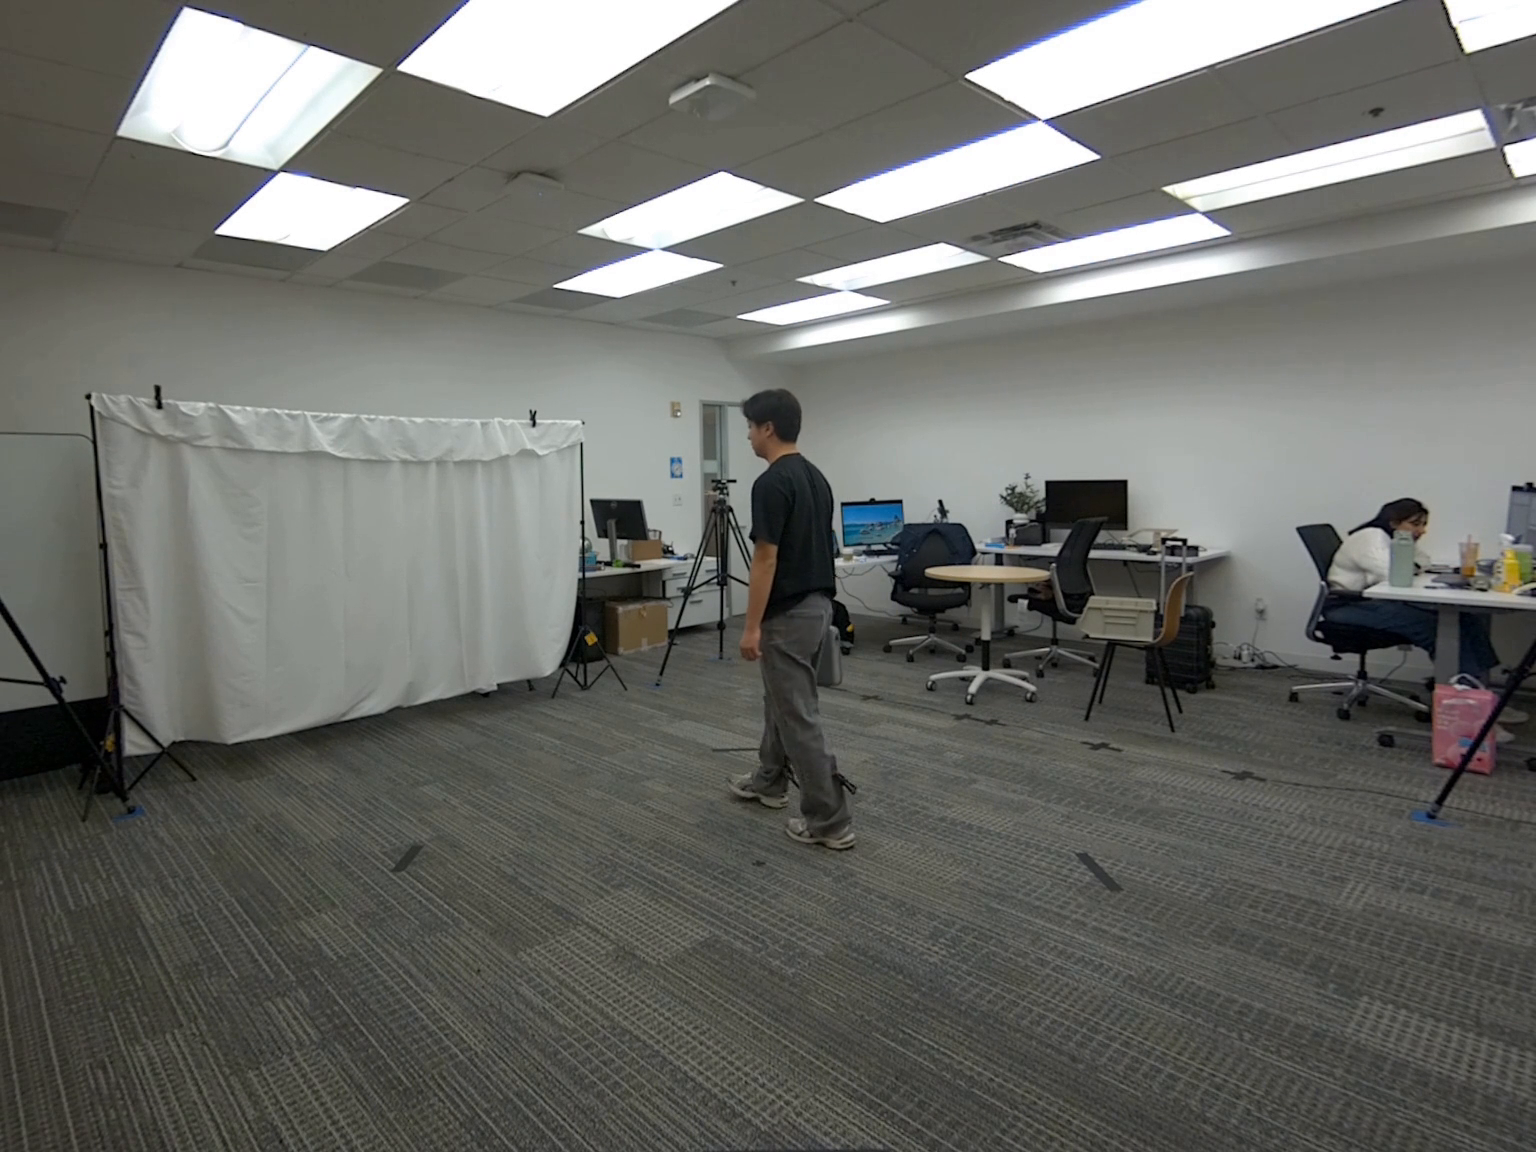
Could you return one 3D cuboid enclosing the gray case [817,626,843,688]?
[{"bbox_3d":[0.183,0.333,3.661,0.269,0.289,0.100,-8,-6,30],"label":"gray case"}]
